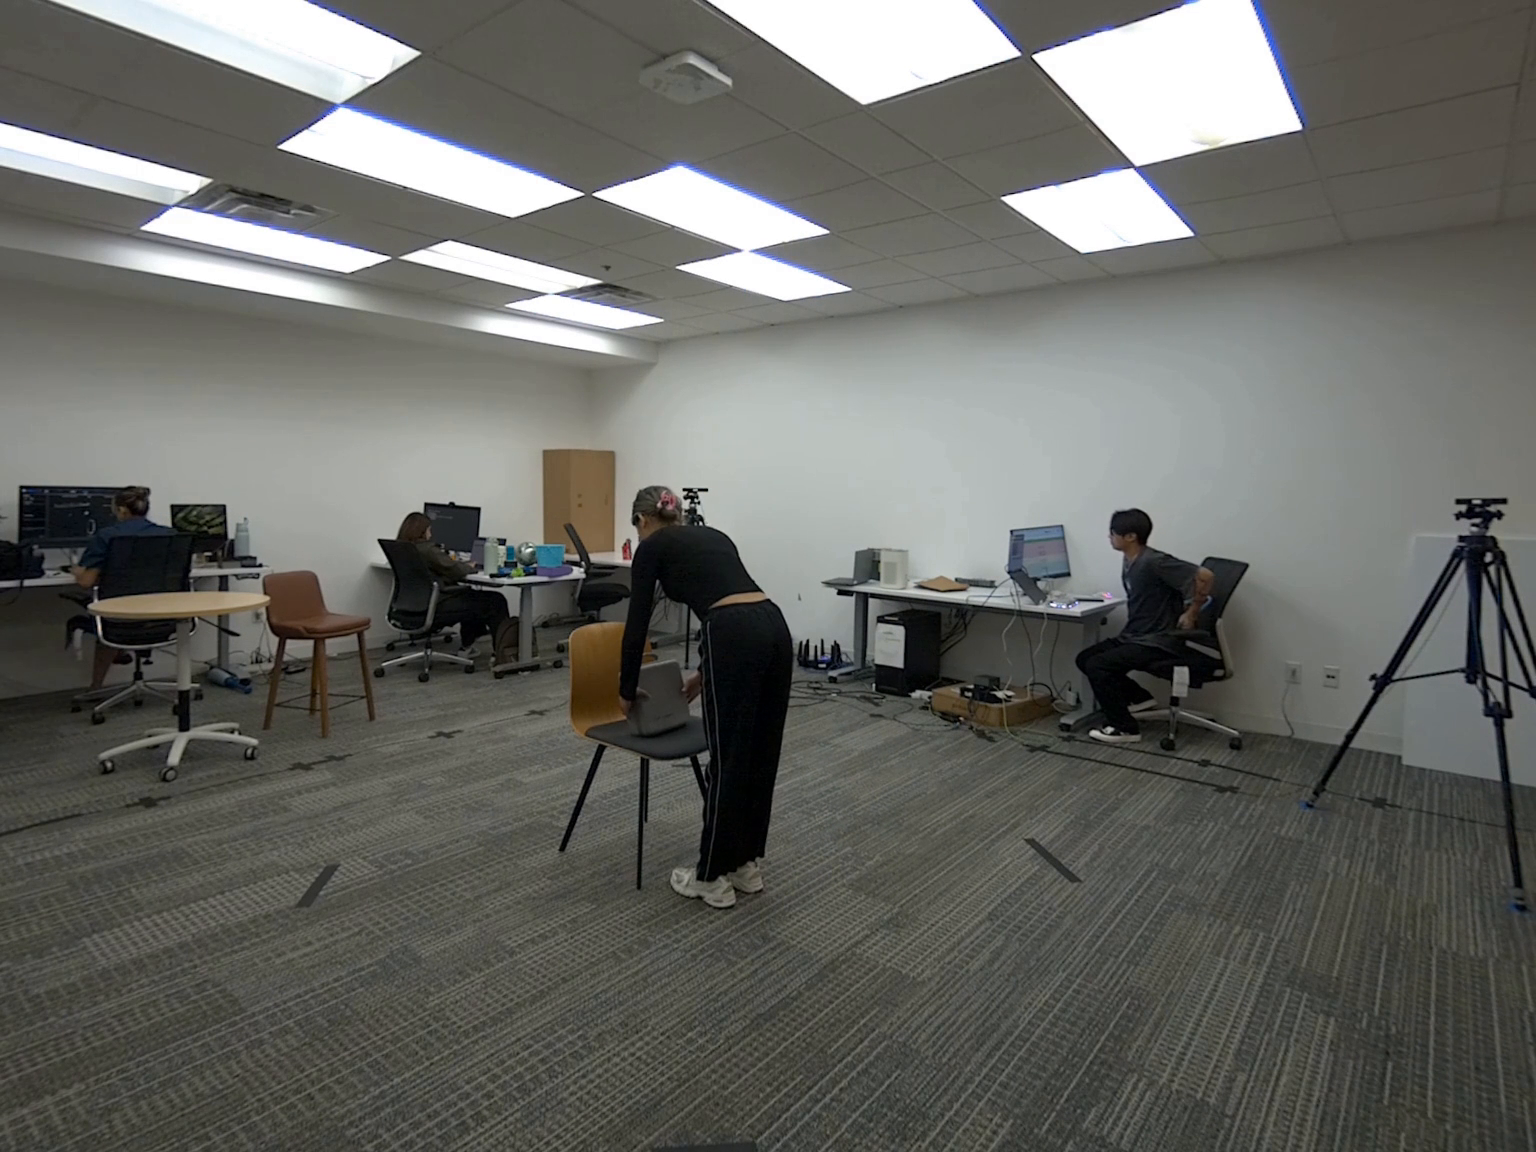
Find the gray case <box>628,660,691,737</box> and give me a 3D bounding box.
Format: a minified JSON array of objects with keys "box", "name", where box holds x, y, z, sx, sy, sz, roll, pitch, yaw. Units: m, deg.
[{"box":[-0.441,0.445,3.197,0.106,0.263,0.249,-15,-7,38],"name":"gray case"}]
